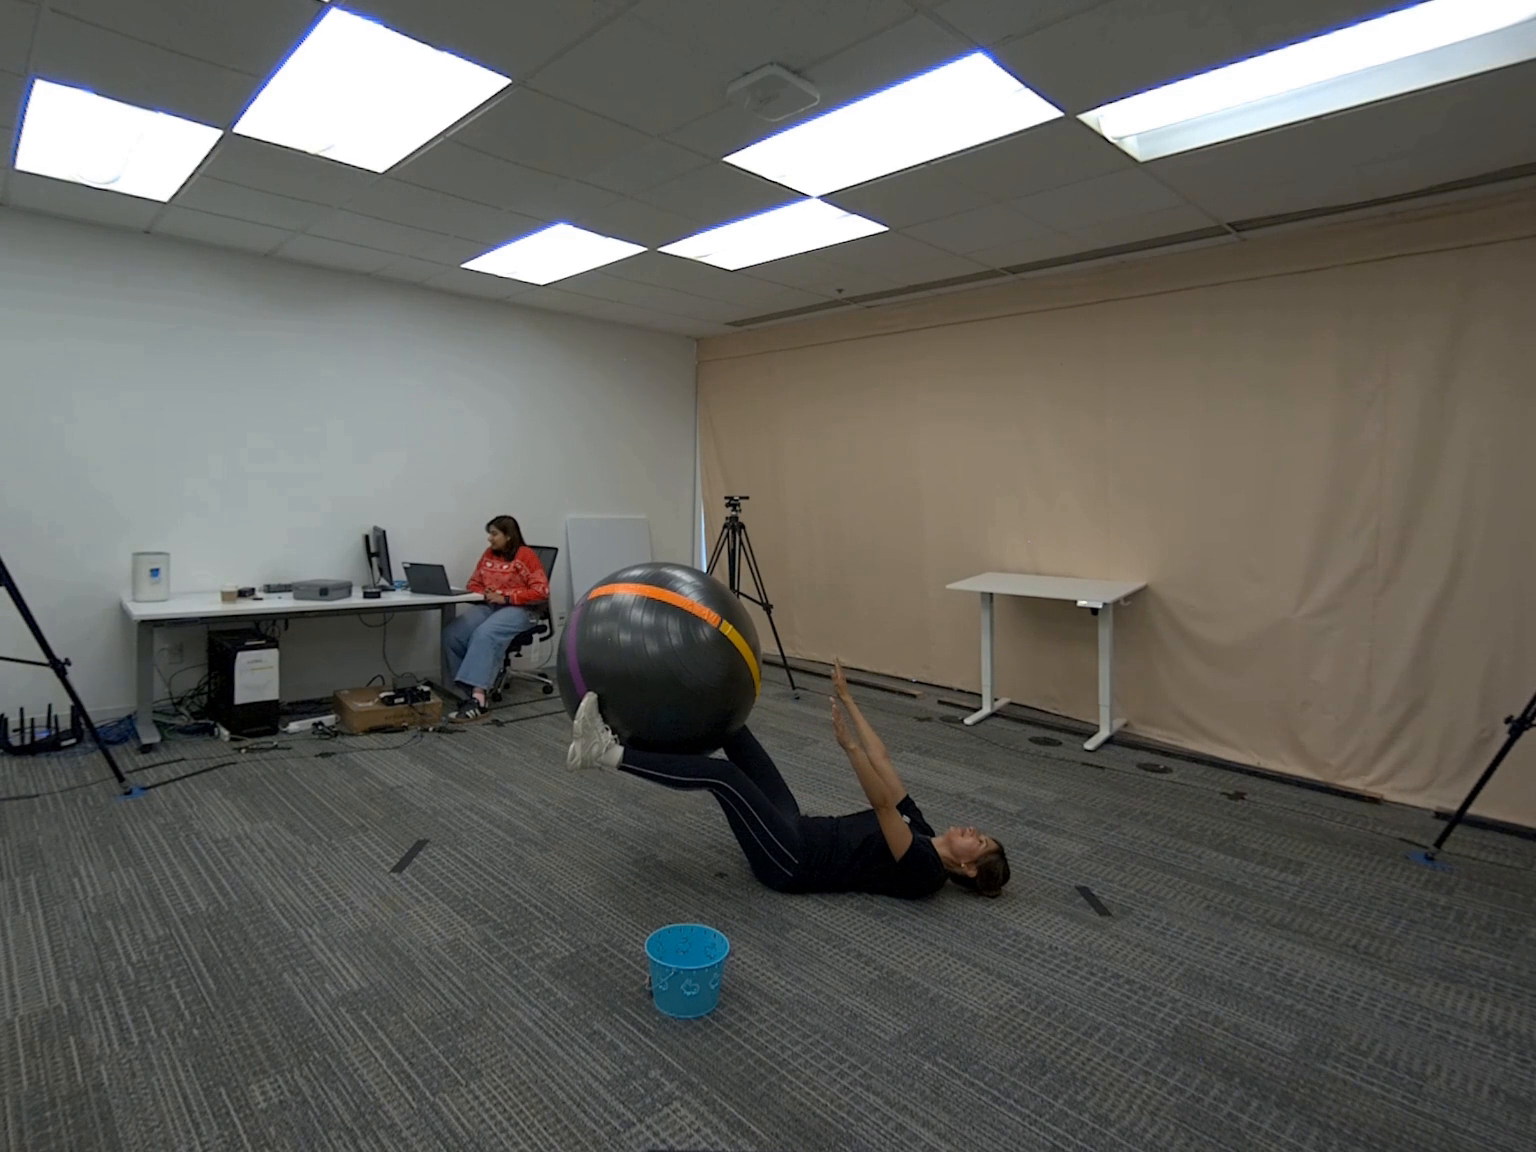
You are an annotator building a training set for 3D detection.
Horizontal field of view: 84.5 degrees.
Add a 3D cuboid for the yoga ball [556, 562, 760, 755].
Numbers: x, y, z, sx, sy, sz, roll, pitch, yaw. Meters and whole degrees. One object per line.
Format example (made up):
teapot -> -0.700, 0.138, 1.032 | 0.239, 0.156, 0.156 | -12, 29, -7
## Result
yoga ball -> -0.398, 0.329, 3.125 | 0.757, 0.756, 0.761 | 1, 4, -1
